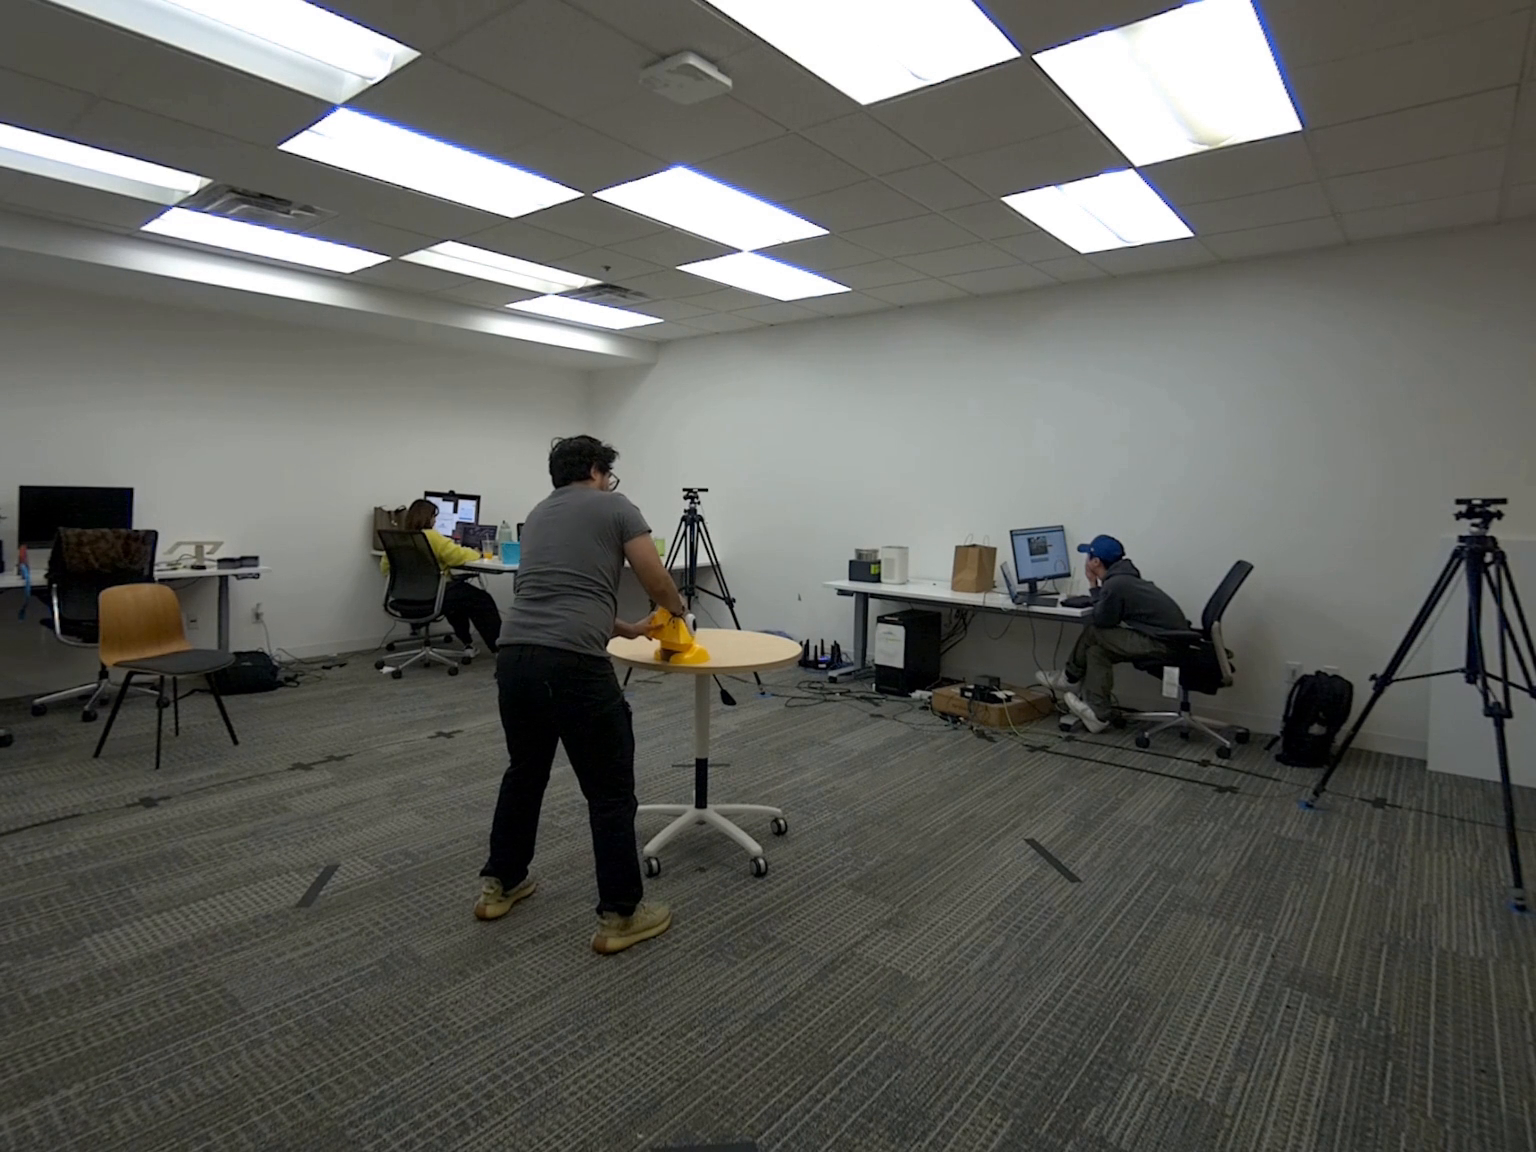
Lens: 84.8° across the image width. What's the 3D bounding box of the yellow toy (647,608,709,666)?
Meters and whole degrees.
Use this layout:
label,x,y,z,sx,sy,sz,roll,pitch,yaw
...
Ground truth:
label,x,y,z,sx,sy,sz,roll,pitch,yaw
yellow toy,-0.325,0.183,3.061,0.212,0.230,0.187,6,5,43
